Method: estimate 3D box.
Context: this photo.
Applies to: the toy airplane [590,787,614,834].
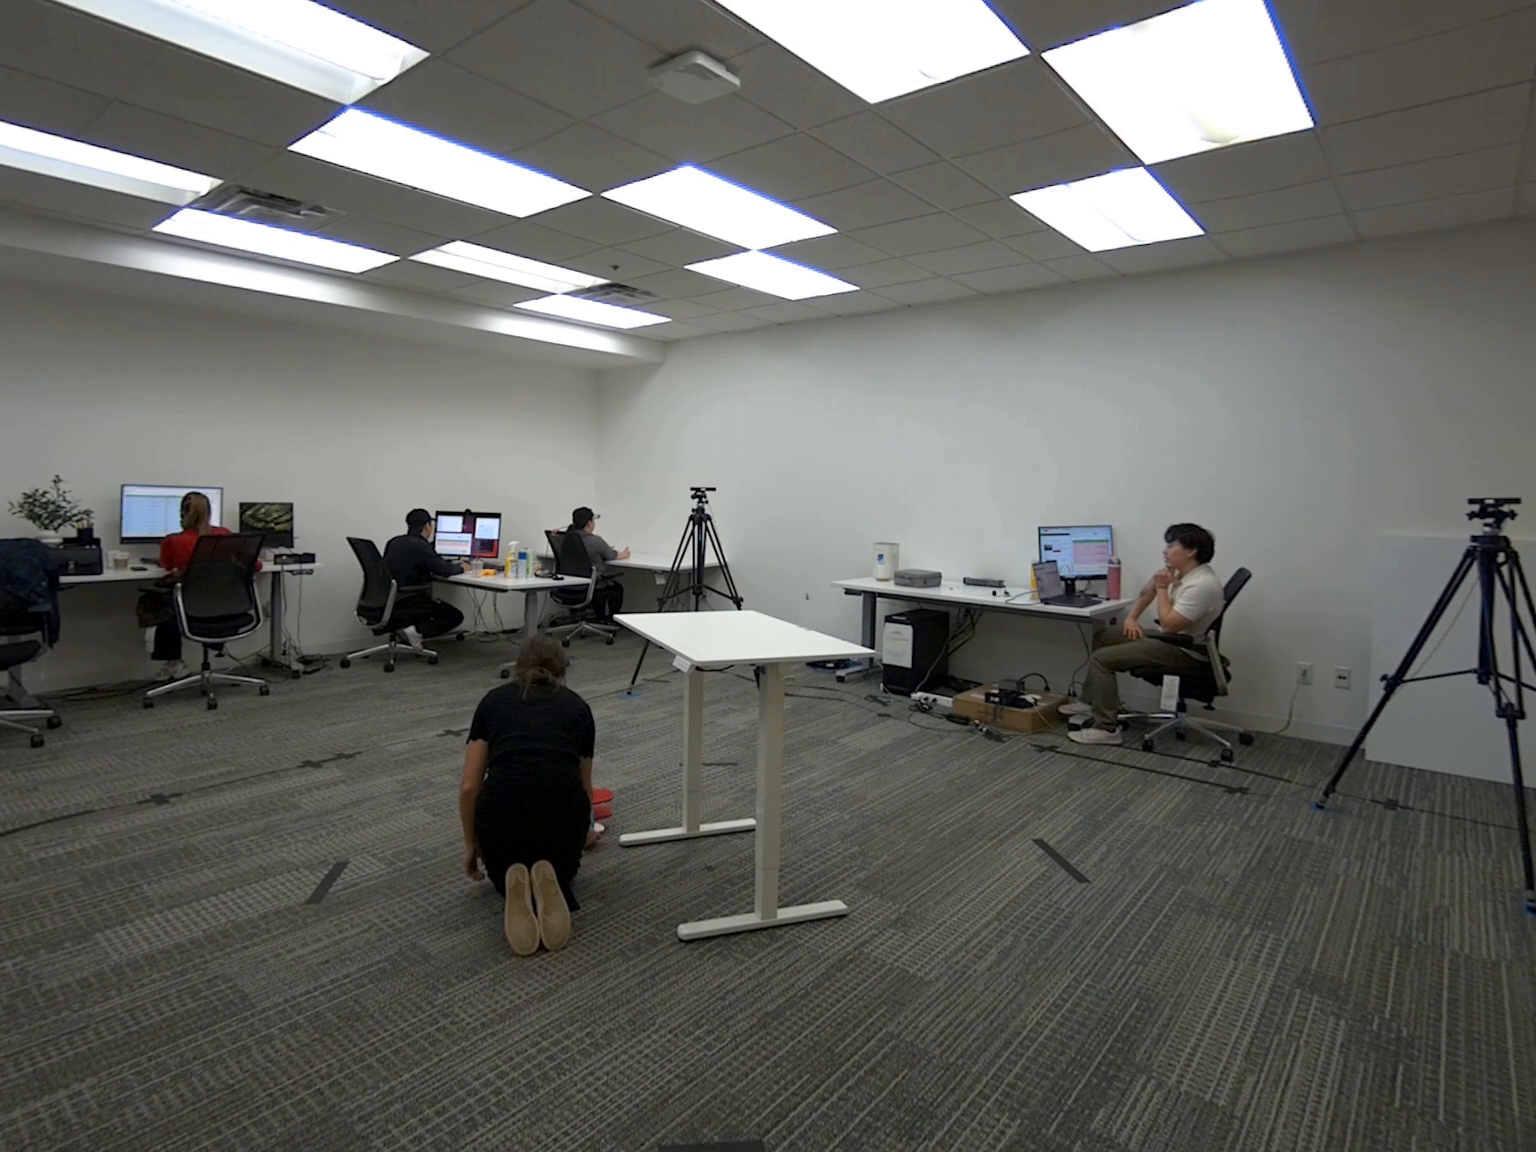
[{"bbox_3d":[-0.735,0.948,3.402,0.267,0.156,0.244,2,6,40],"label":"toy airplane"}]
